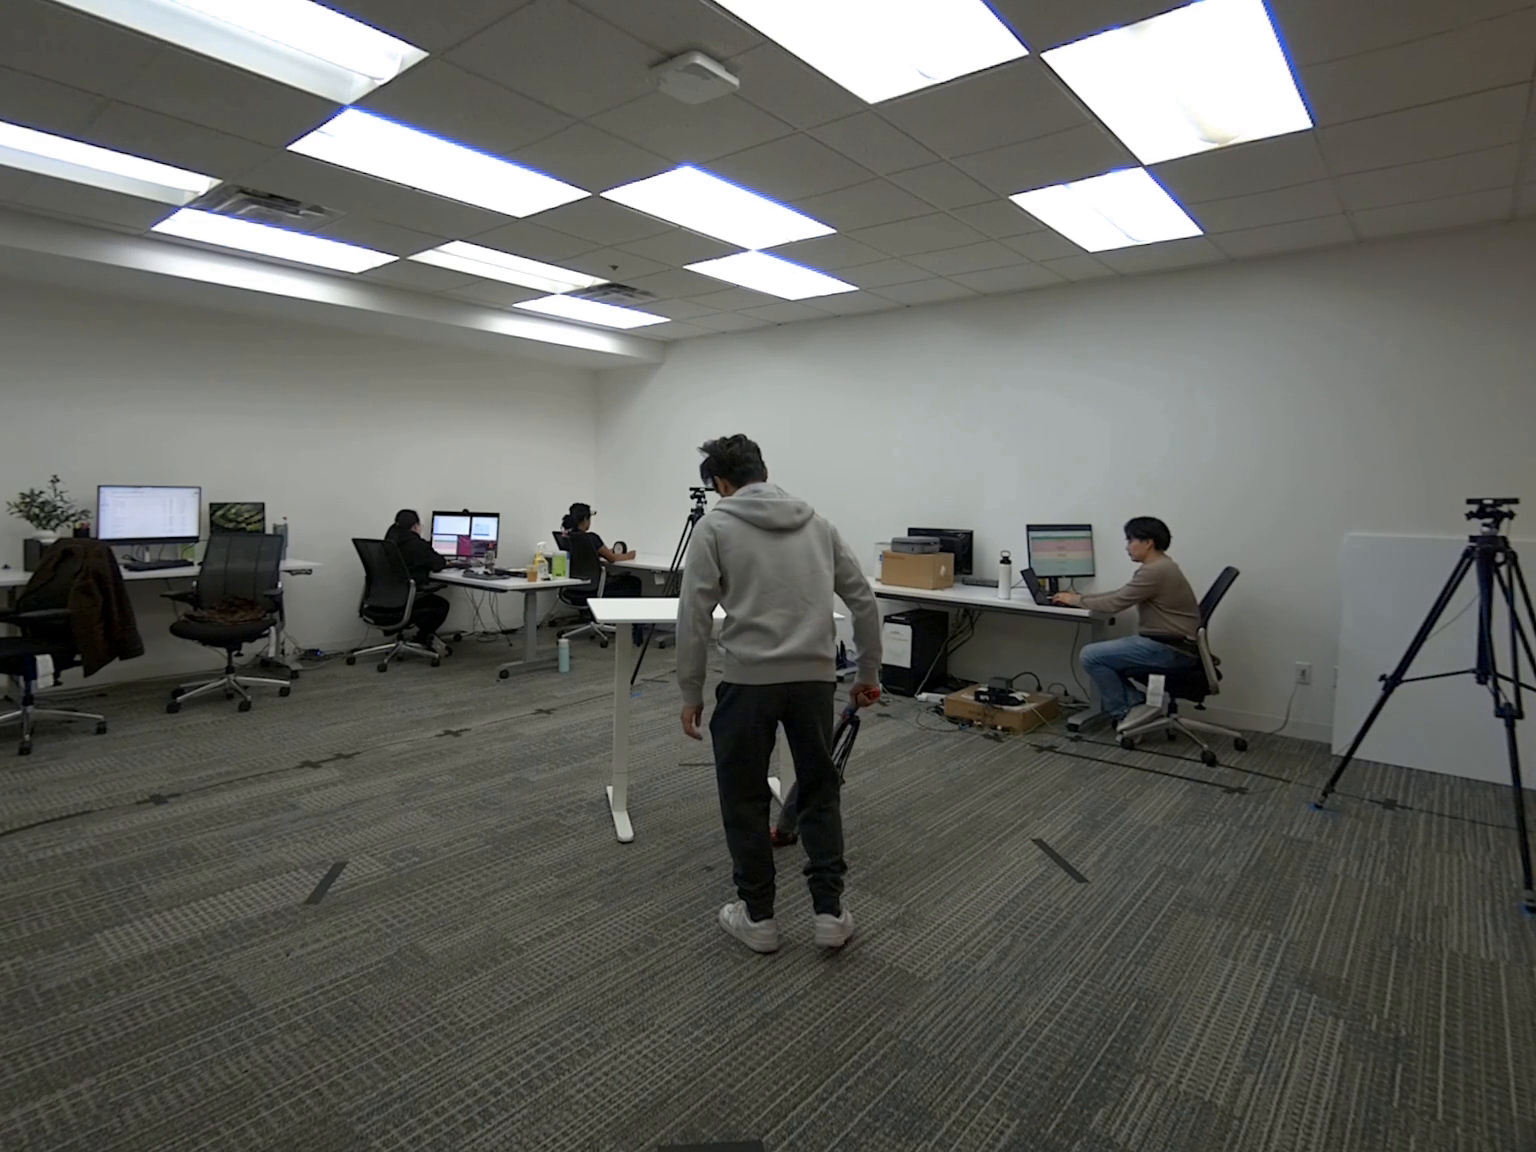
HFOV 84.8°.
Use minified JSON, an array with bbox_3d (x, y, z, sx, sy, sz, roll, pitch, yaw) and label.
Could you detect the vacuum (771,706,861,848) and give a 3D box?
[{"bbox_3d":[0.171,0.700,3.022,0.247,0.149,1.035,-7,-35,-28],"label":"vacuum"}]
